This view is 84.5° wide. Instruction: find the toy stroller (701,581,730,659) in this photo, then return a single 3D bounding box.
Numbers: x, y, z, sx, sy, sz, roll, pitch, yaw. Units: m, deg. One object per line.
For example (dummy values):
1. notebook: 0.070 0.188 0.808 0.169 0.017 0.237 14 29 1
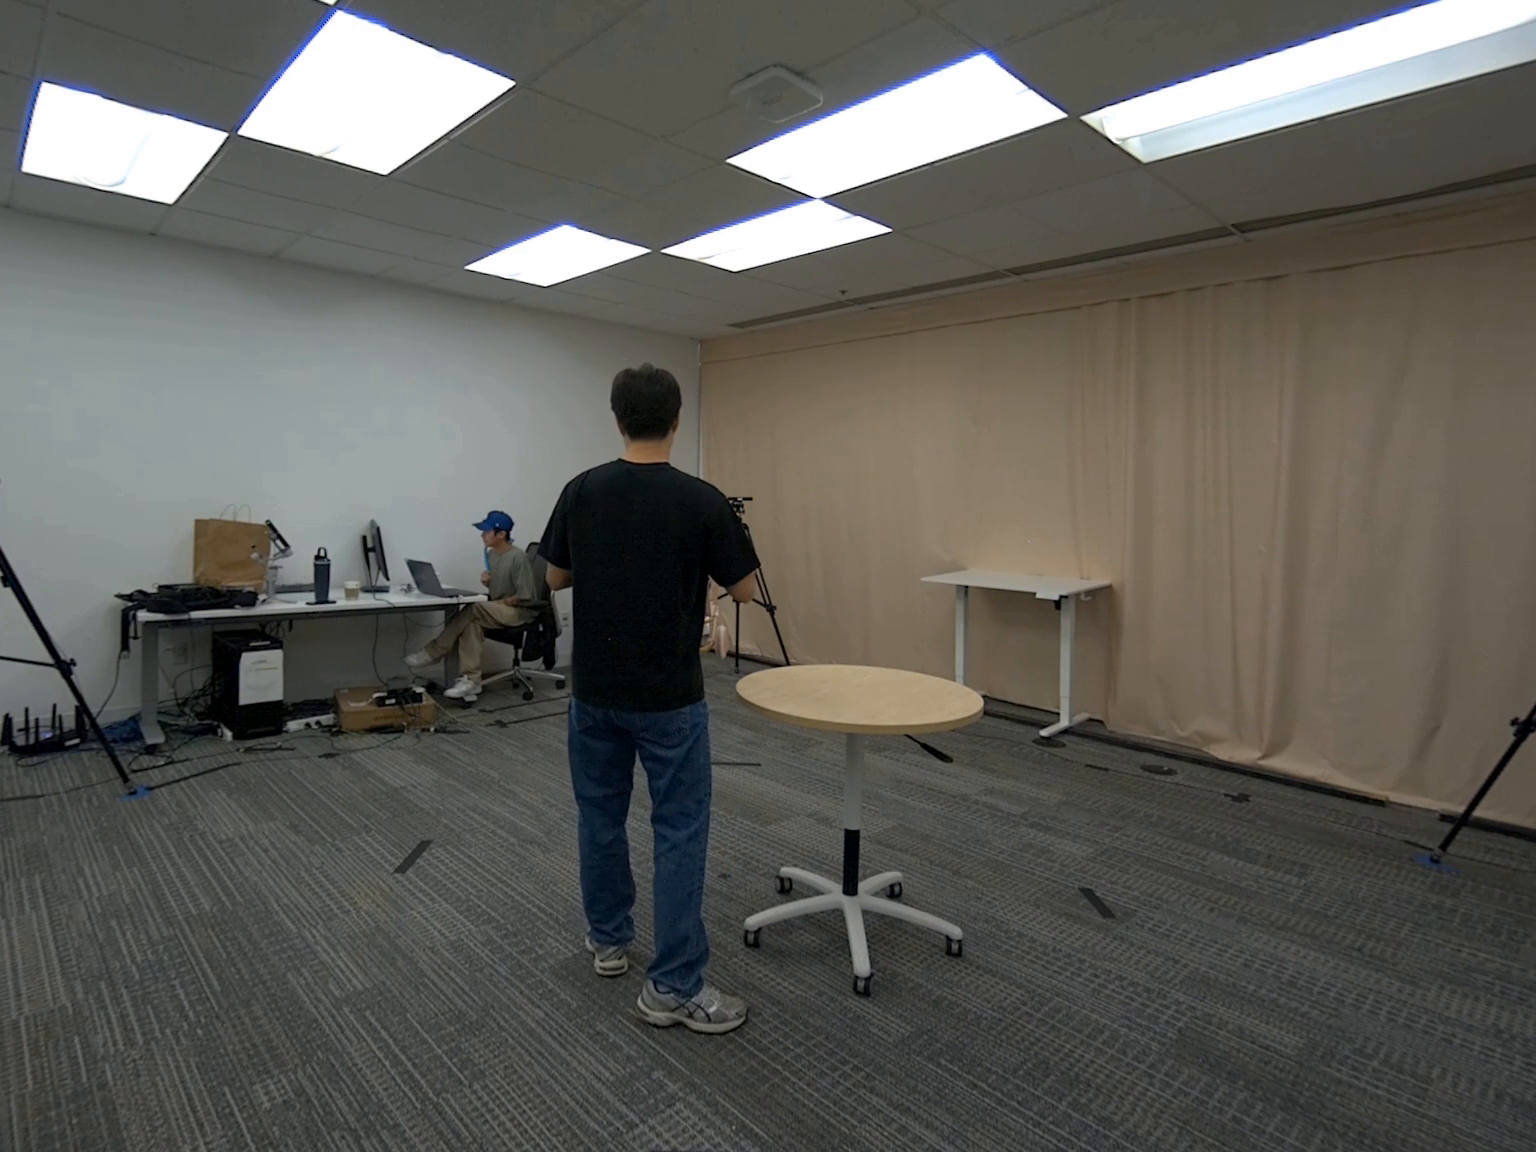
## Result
1. toy stroller: -0.275 0.042 2.810 0.283 0.528 0.343 1 18 8
